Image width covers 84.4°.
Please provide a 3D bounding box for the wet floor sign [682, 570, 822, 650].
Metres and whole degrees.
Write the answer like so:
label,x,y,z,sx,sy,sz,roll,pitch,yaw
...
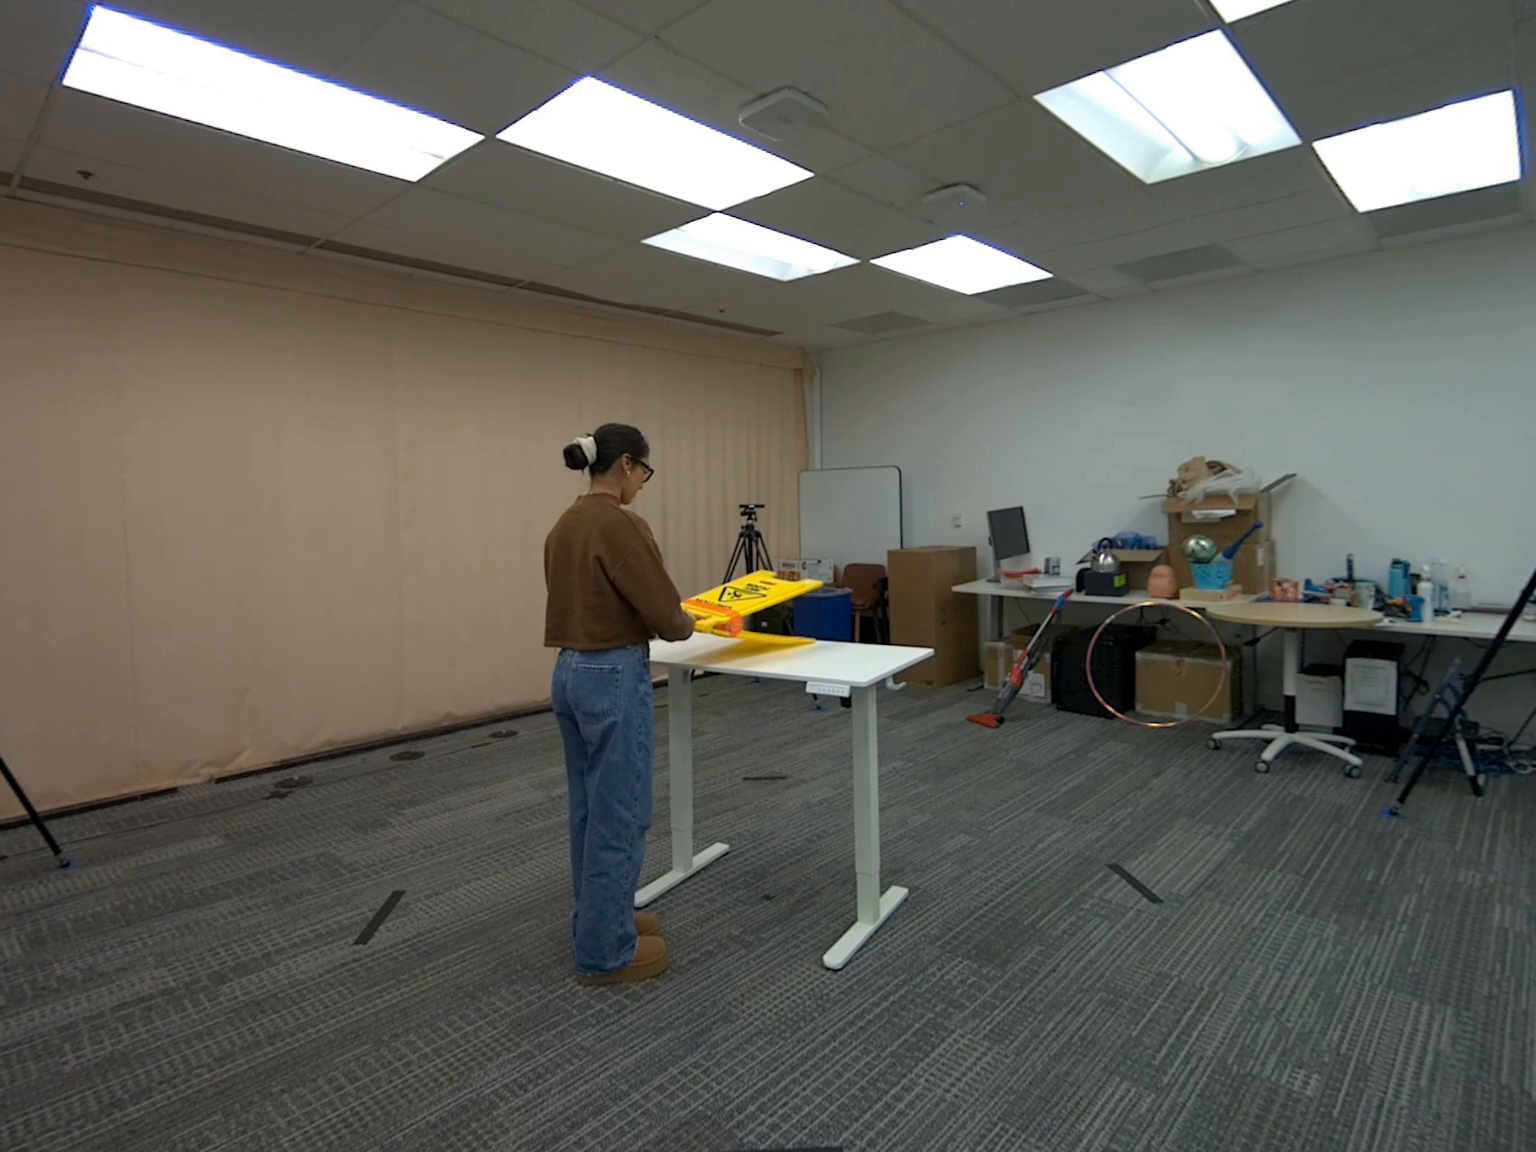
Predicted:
label,x,y,z,sx,sy,sz,roll,pitch,yaw
wet floor sign,-0.104,0.134,2.907,0.291,0.289,0.627,8,6,34
